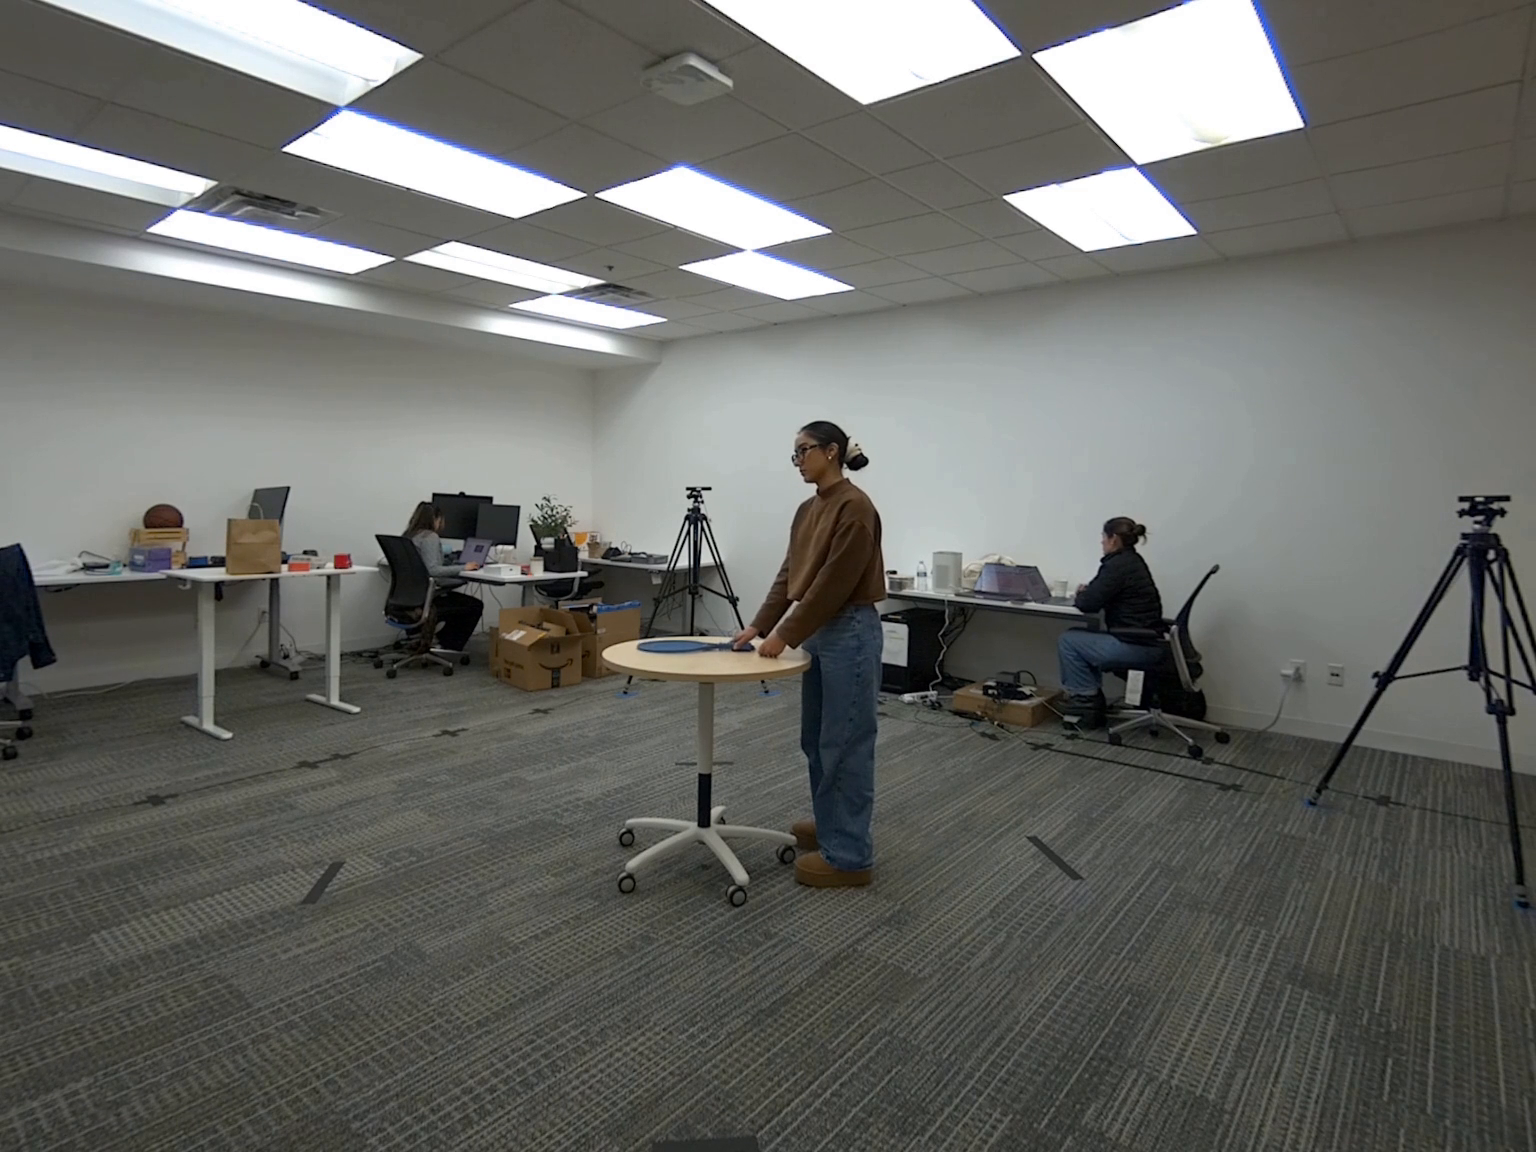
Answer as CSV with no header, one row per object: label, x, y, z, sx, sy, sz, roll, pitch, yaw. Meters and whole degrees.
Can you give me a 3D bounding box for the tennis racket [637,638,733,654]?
tennis racket,-0.296,0.266,3.216,0.437,0.031,0.213,0,7,9
